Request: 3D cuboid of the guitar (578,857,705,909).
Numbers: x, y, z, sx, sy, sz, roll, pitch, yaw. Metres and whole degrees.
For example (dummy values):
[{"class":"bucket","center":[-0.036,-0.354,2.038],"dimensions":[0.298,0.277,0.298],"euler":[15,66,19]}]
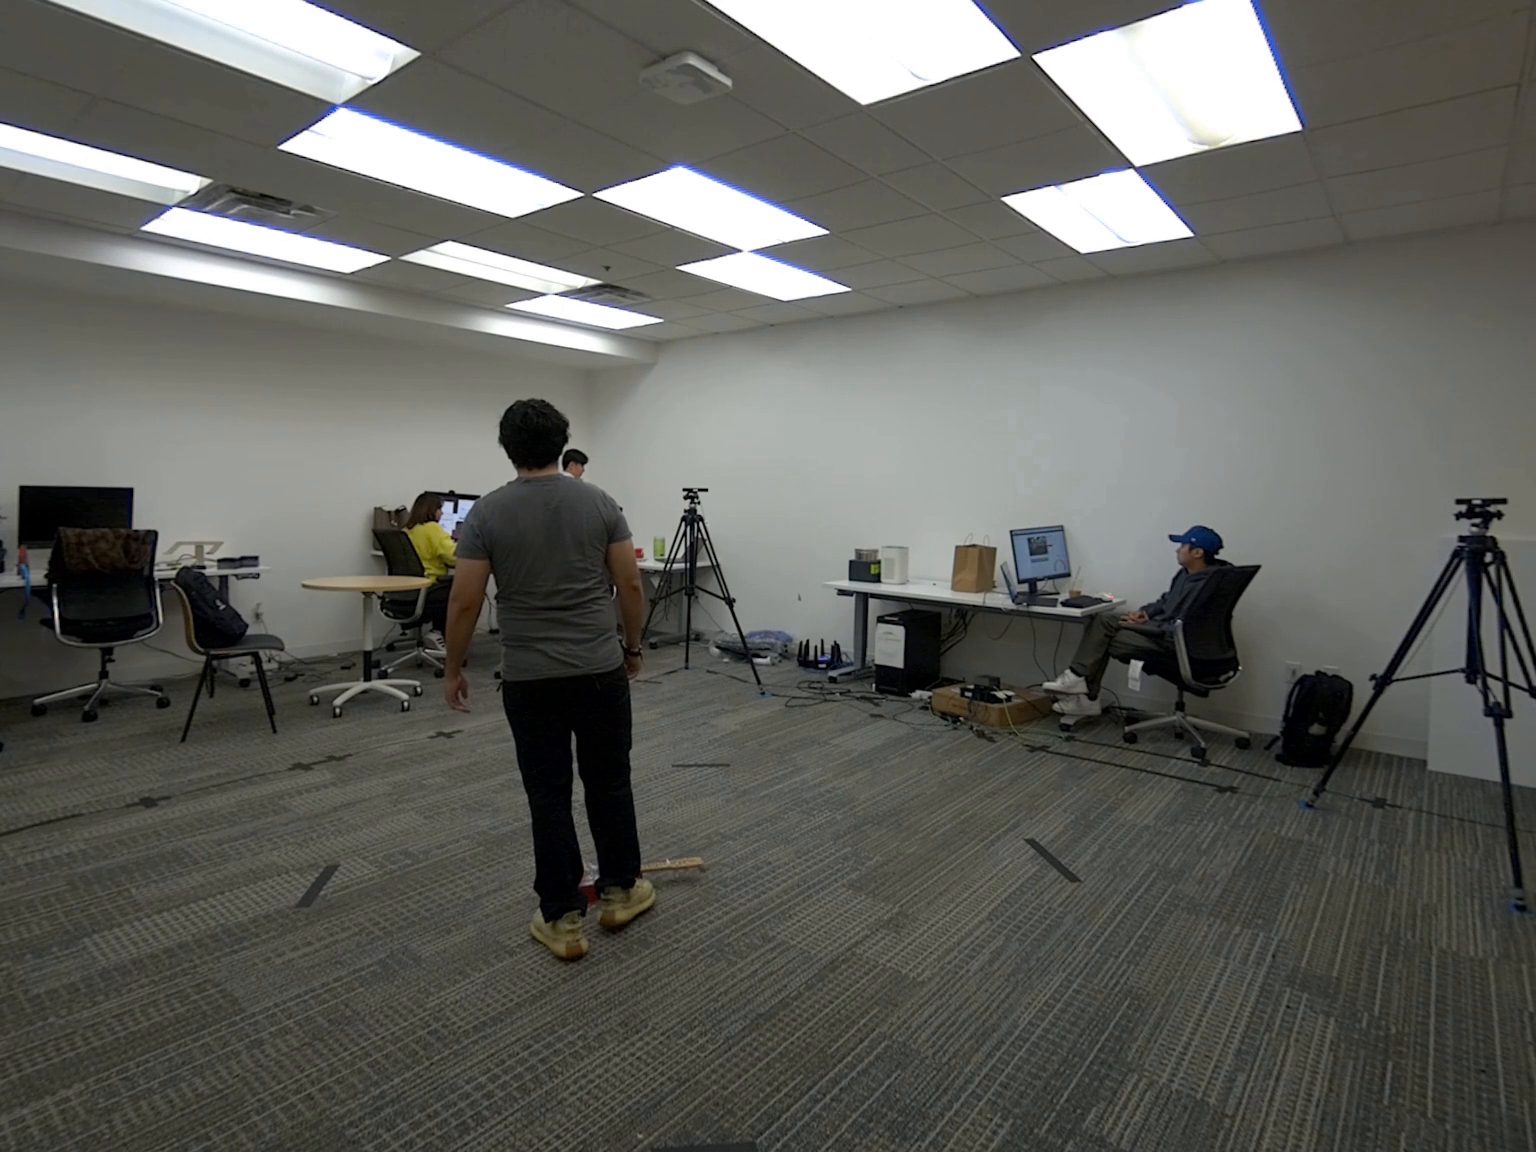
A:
[{"class":"guitar","center":[-0.470,1.044,2.947],"dimensions":[0.494,0.070,0.195],"euler":[-1,4,-7]}]
